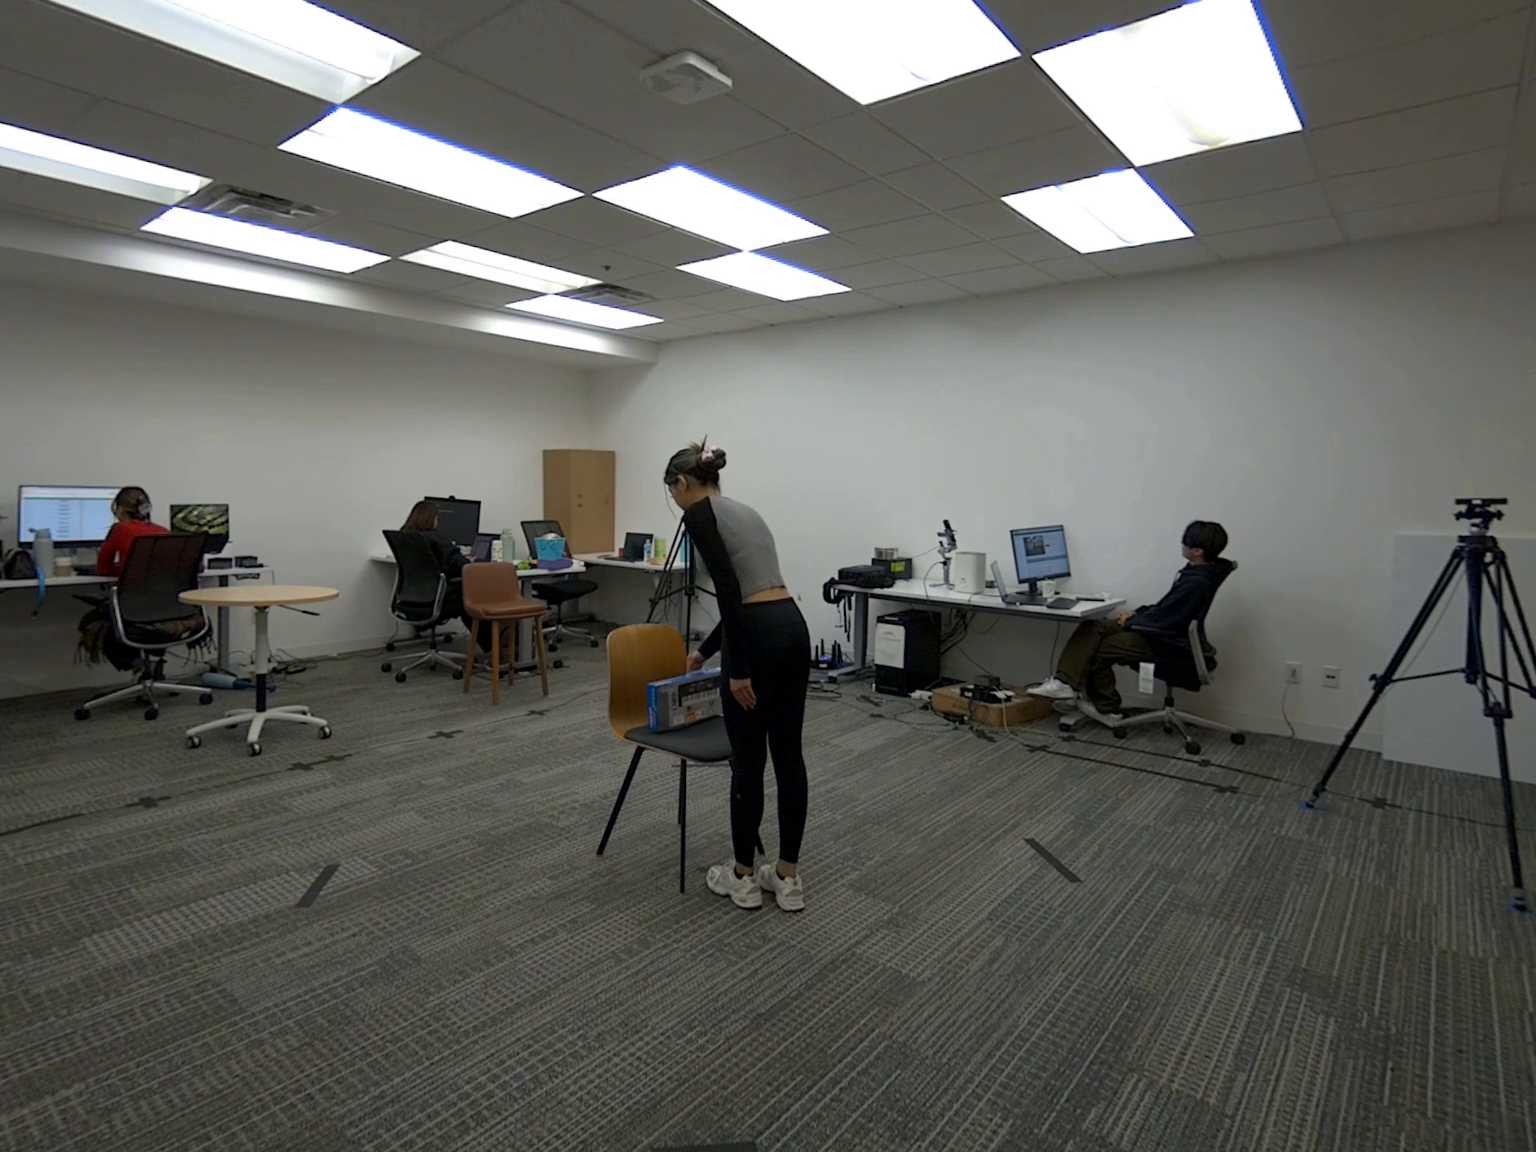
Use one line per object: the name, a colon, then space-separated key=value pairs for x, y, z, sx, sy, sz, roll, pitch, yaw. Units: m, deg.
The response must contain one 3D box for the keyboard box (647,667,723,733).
keyboard box: x=-0.288 y=0.467 z=3.308 sx=0.425 sy=0.175 sz=0.061 roll=-8 pitch=6 yaw=-41
